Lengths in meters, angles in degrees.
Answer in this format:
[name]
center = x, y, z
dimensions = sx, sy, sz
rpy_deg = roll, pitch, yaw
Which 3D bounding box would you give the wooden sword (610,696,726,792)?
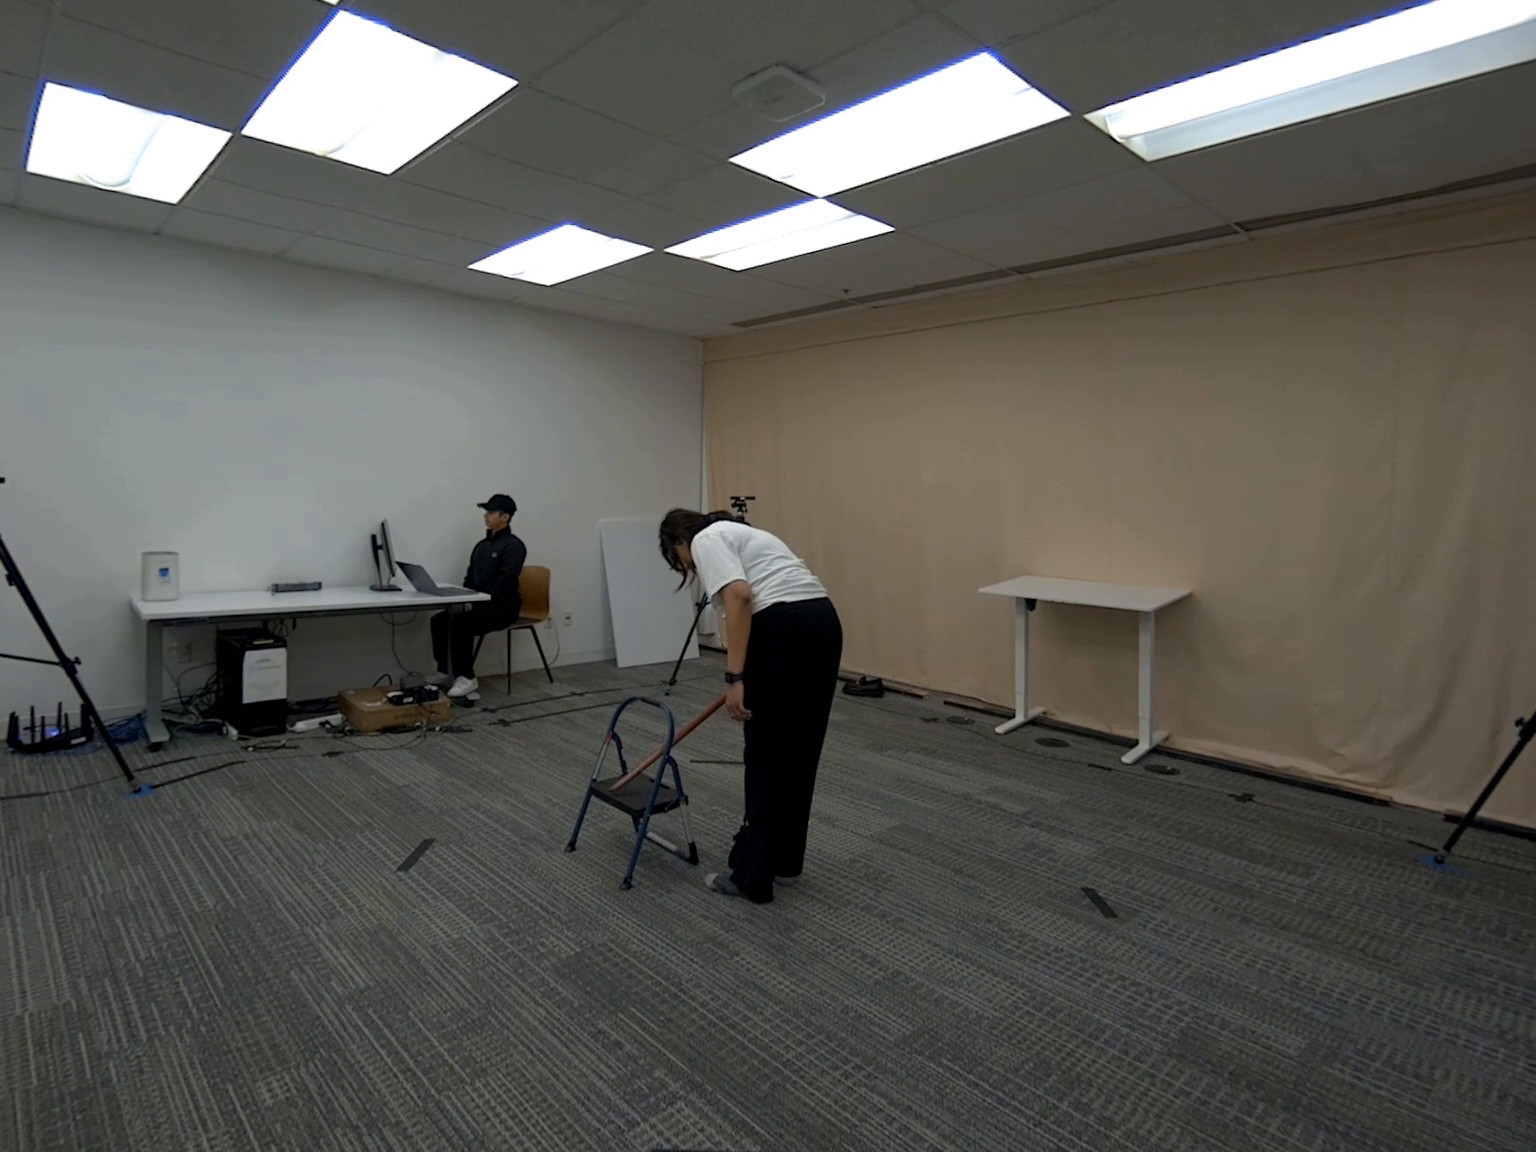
[wooden sword]
center = -0.248, 0.533, 3.395
dimensions = 0.025, 0.050, 1.020
rpy_deg = 36, 56, 25
